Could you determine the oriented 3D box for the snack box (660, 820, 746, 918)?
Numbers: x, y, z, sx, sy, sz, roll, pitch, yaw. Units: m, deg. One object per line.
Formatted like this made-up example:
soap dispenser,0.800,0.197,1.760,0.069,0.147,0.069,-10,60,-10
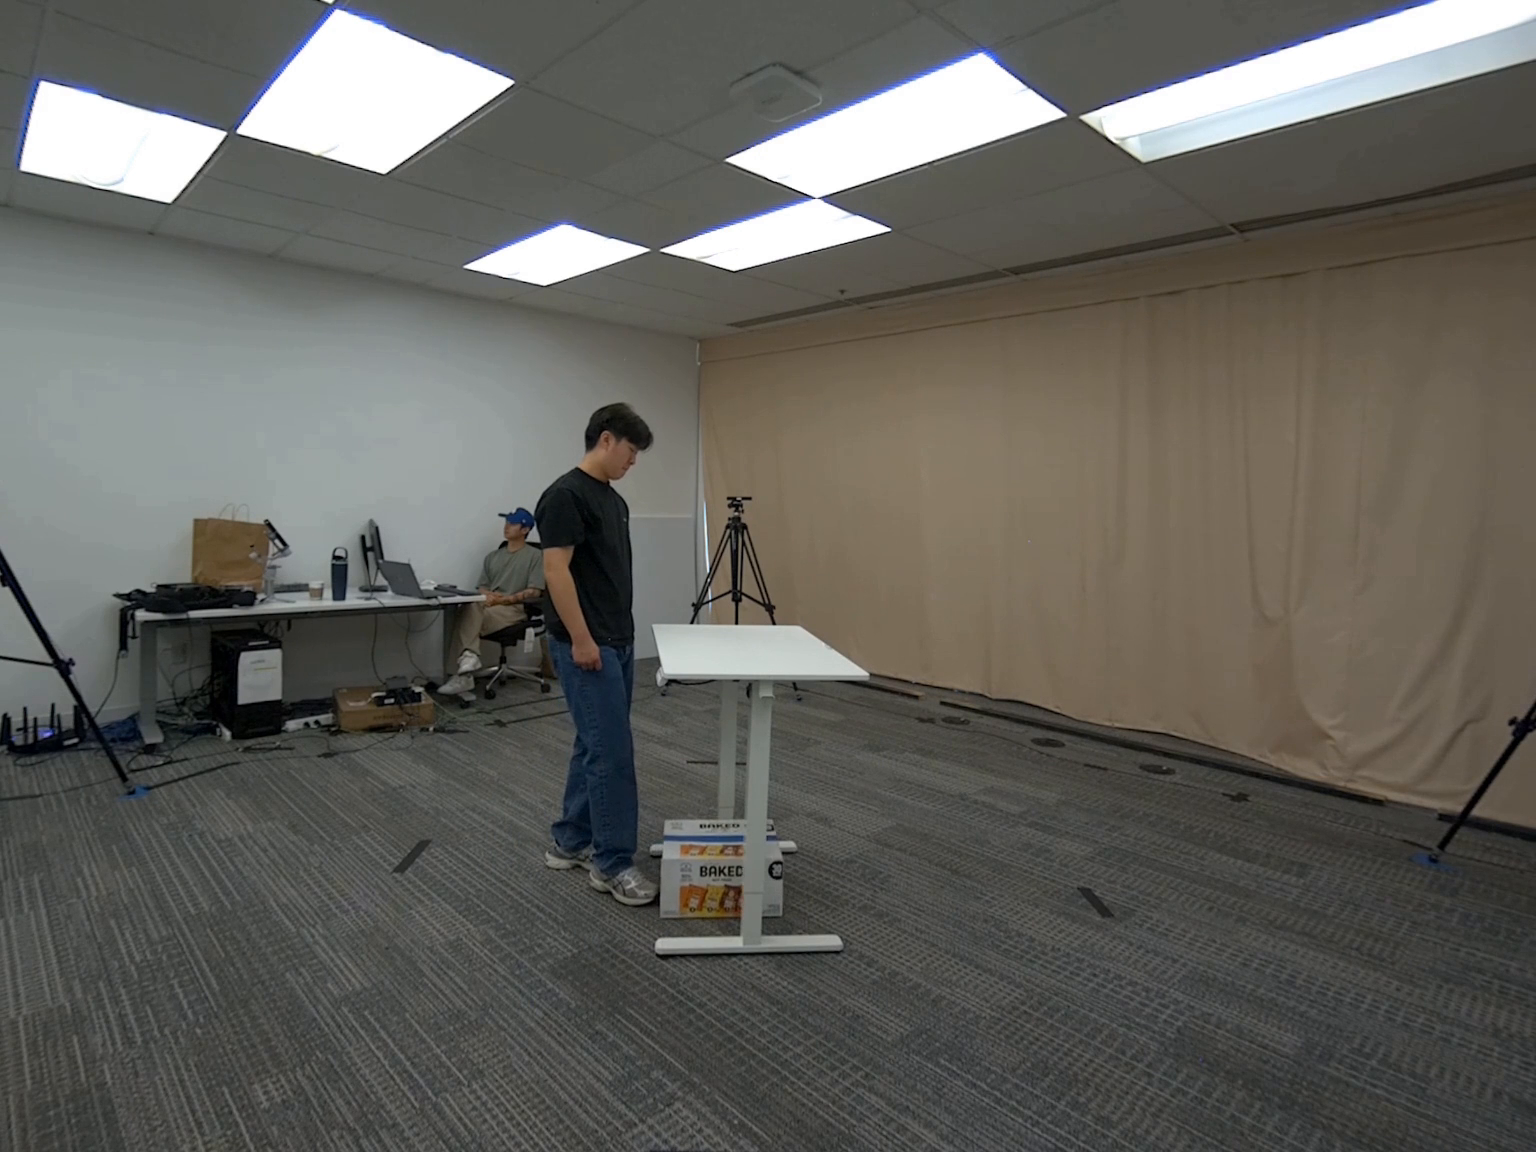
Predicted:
snack box,-0.173,1.019,2.944,0.404,0.205,0.342,1,5,-4
